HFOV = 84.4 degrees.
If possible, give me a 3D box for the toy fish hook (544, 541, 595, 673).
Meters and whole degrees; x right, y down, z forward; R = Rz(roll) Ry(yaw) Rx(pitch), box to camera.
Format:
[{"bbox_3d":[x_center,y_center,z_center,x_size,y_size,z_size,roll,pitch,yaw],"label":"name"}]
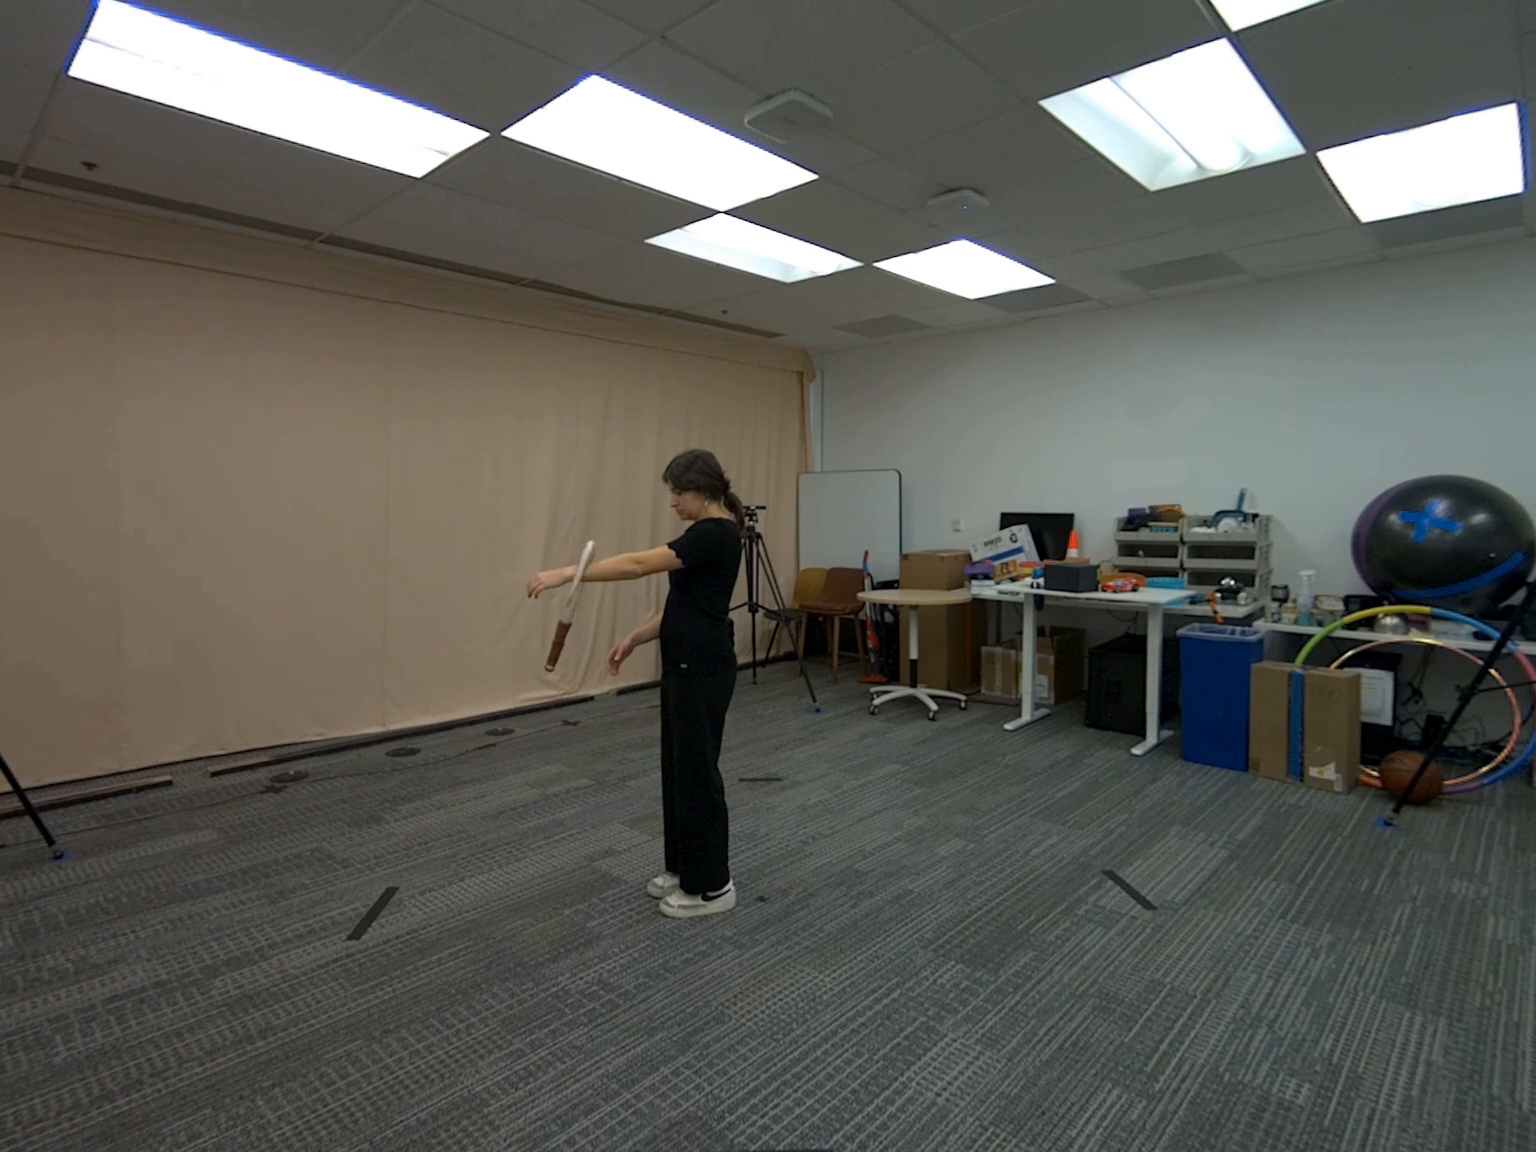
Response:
[{"bbox_3d":[-0.660,0.134,2.773,0.048,0.505,0.226,20,15,-5],"label":"toy fish hook"}]
